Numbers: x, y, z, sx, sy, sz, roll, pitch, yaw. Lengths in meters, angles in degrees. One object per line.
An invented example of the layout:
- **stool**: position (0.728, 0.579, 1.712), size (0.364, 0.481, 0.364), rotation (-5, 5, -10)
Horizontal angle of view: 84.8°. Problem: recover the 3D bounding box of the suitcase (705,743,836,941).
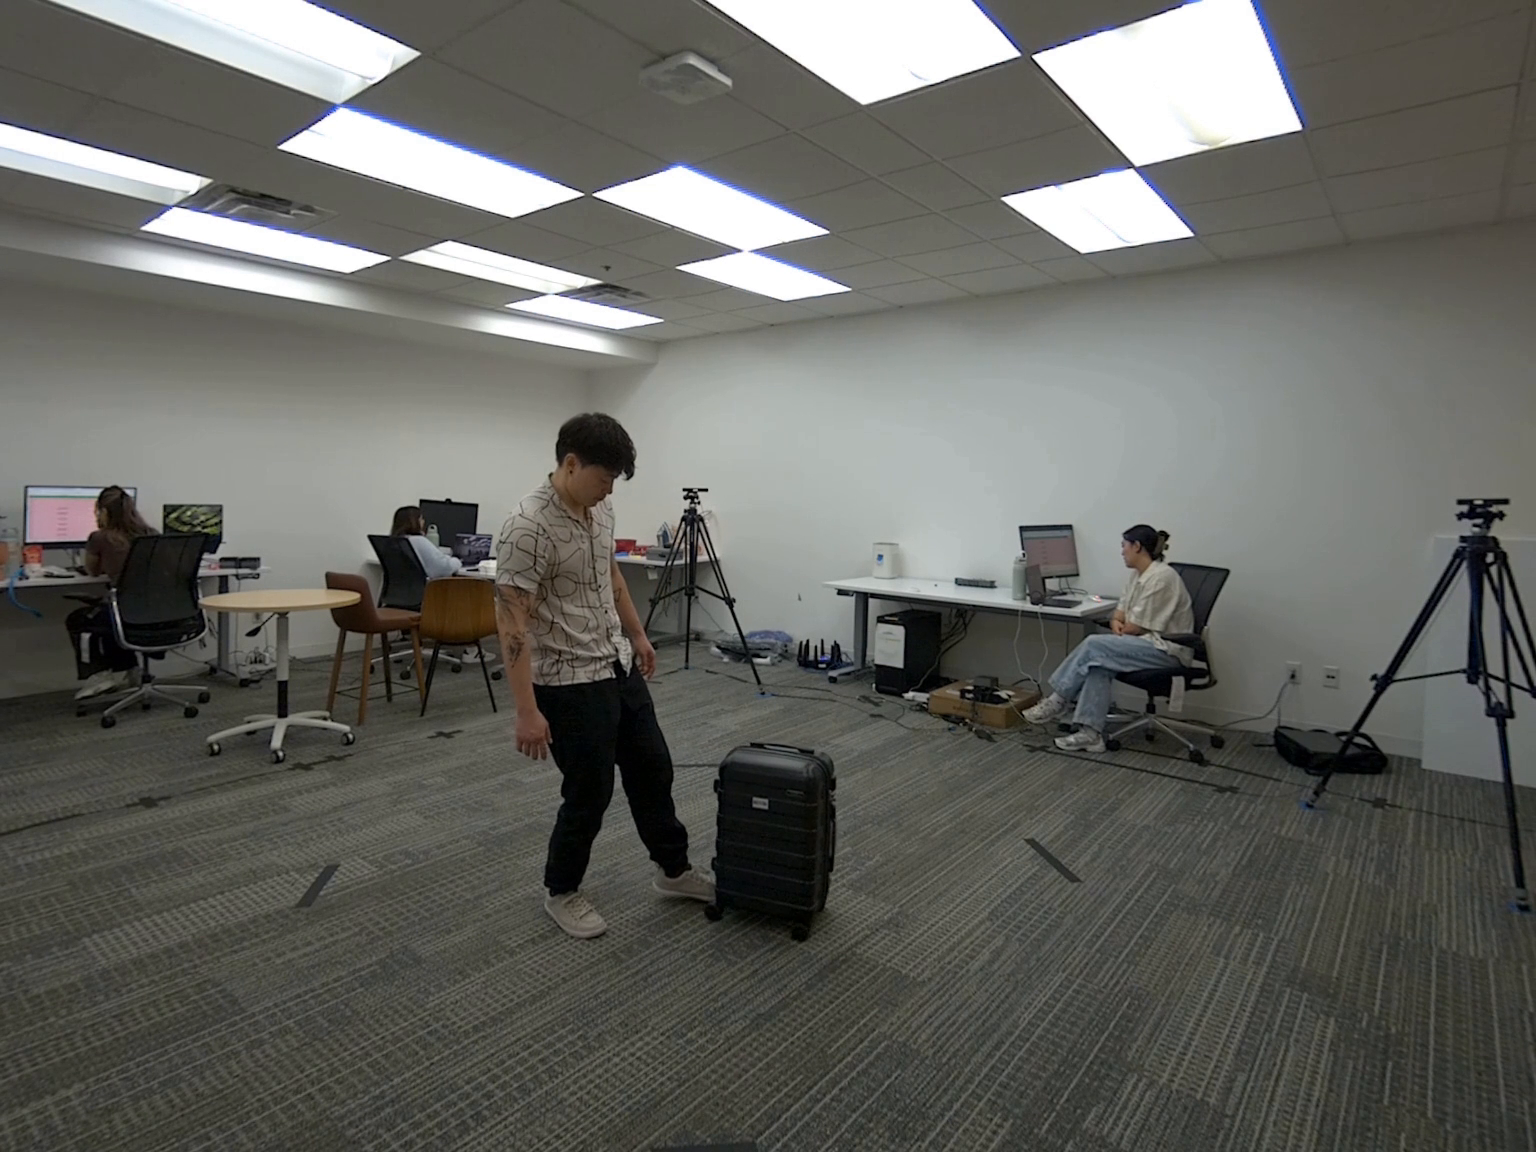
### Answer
- **suitcase**: position (0.017, 0.835, 2.769), size (0.384, 0.548, 0.243), rotation (4, 4, 20)
